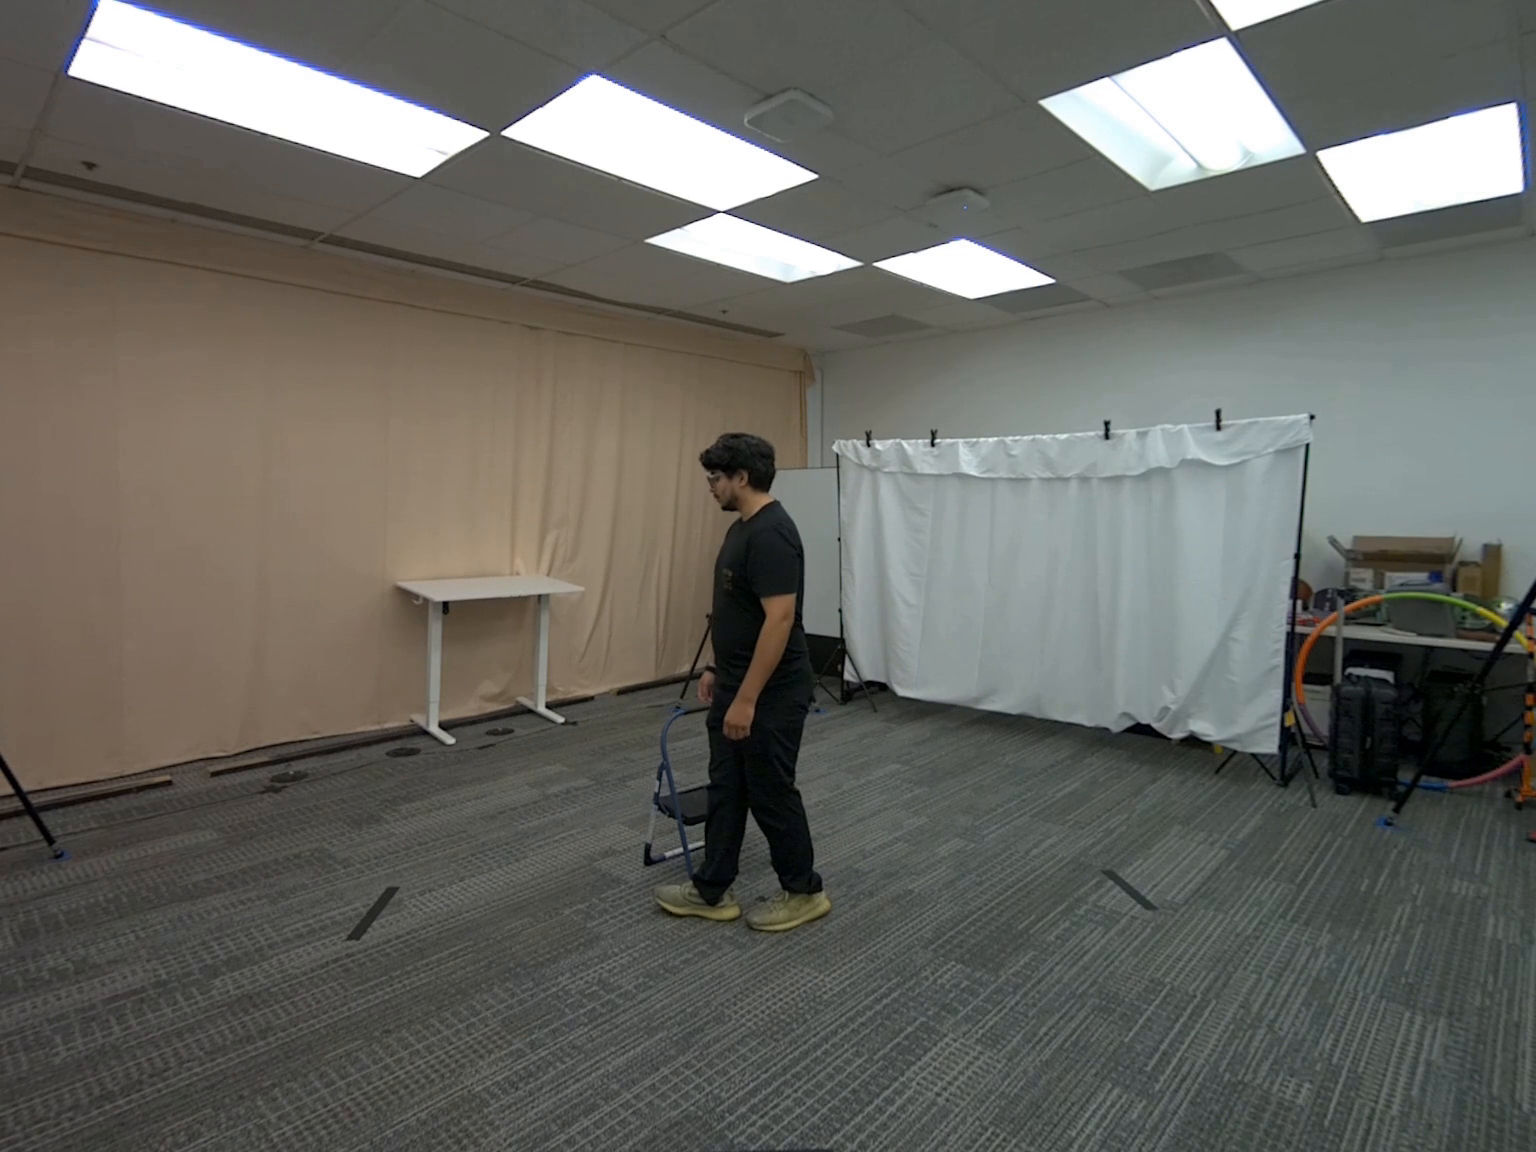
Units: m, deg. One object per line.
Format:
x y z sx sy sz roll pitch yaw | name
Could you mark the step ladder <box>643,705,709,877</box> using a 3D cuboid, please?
-0.220 0.819 3.250 0.417 0.605 0.361 -3 5 -41 | step ladder
